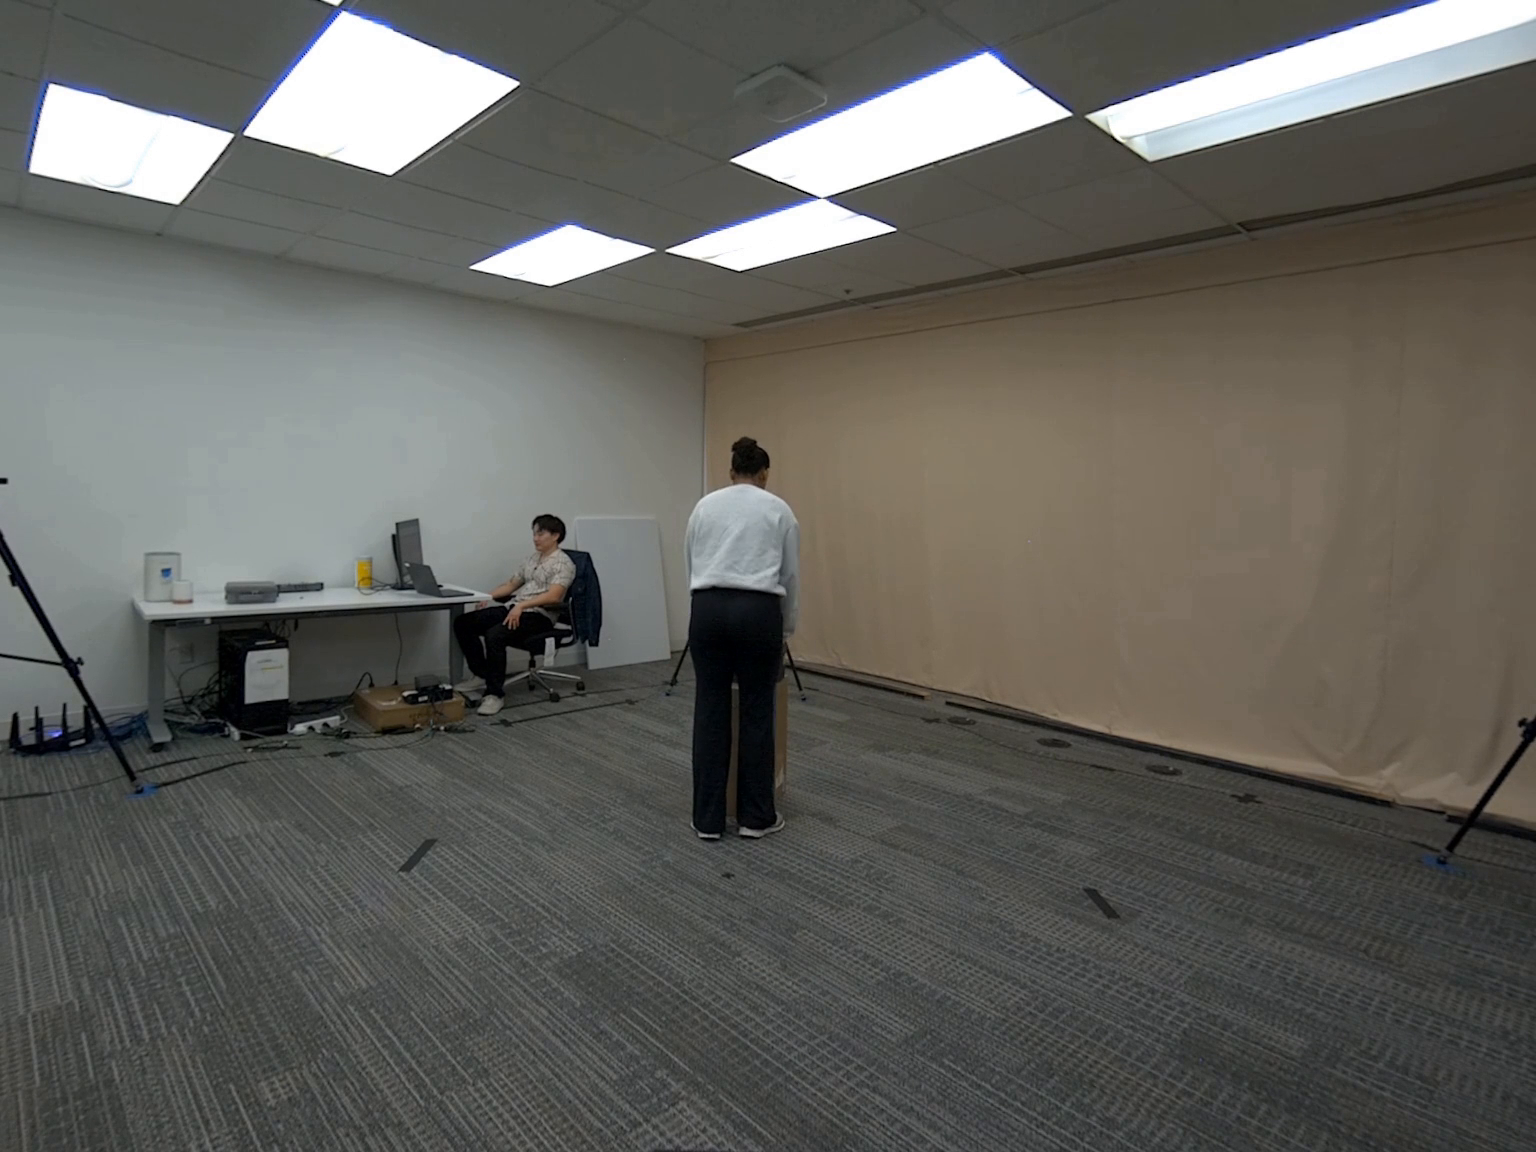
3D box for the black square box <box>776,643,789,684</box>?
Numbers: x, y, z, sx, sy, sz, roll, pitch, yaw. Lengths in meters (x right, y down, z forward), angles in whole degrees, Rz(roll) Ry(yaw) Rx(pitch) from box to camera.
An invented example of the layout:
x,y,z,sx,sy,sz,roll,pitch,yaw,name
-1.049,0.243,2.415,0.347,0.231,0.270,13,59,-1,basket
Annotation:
x,y,z,sx,sy,sz,roll,pitch,yaw,name
-0.071,0.398,3.860,0.232,0.155,0.213,3,4,27,black square box
